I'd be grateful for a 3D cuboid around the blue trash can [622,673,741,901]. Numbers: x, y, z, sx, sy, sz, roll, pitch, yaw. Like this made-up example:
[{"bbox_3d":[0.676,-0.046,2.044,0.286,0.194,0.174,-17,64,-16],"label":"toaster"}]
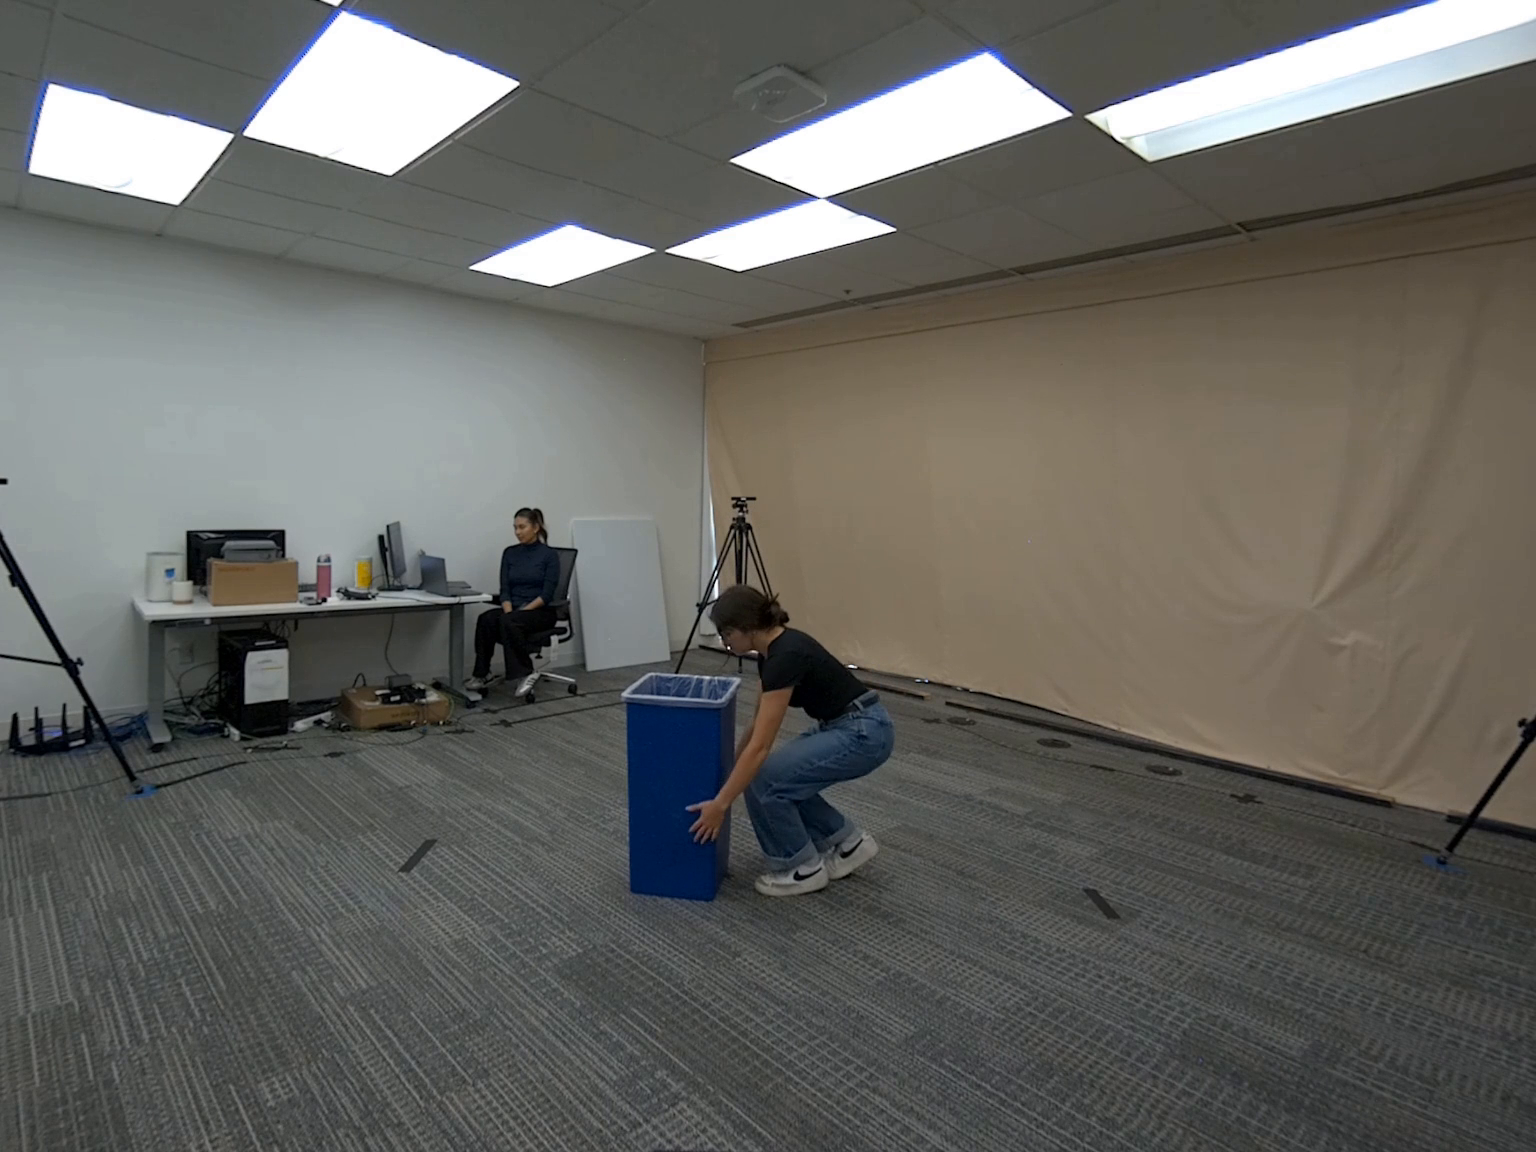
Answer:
[{"bbox_3d":[-0.309,0.746,3.047,0.381,0.712,0.372,2,3,10],"label":"blue trash can"}]
